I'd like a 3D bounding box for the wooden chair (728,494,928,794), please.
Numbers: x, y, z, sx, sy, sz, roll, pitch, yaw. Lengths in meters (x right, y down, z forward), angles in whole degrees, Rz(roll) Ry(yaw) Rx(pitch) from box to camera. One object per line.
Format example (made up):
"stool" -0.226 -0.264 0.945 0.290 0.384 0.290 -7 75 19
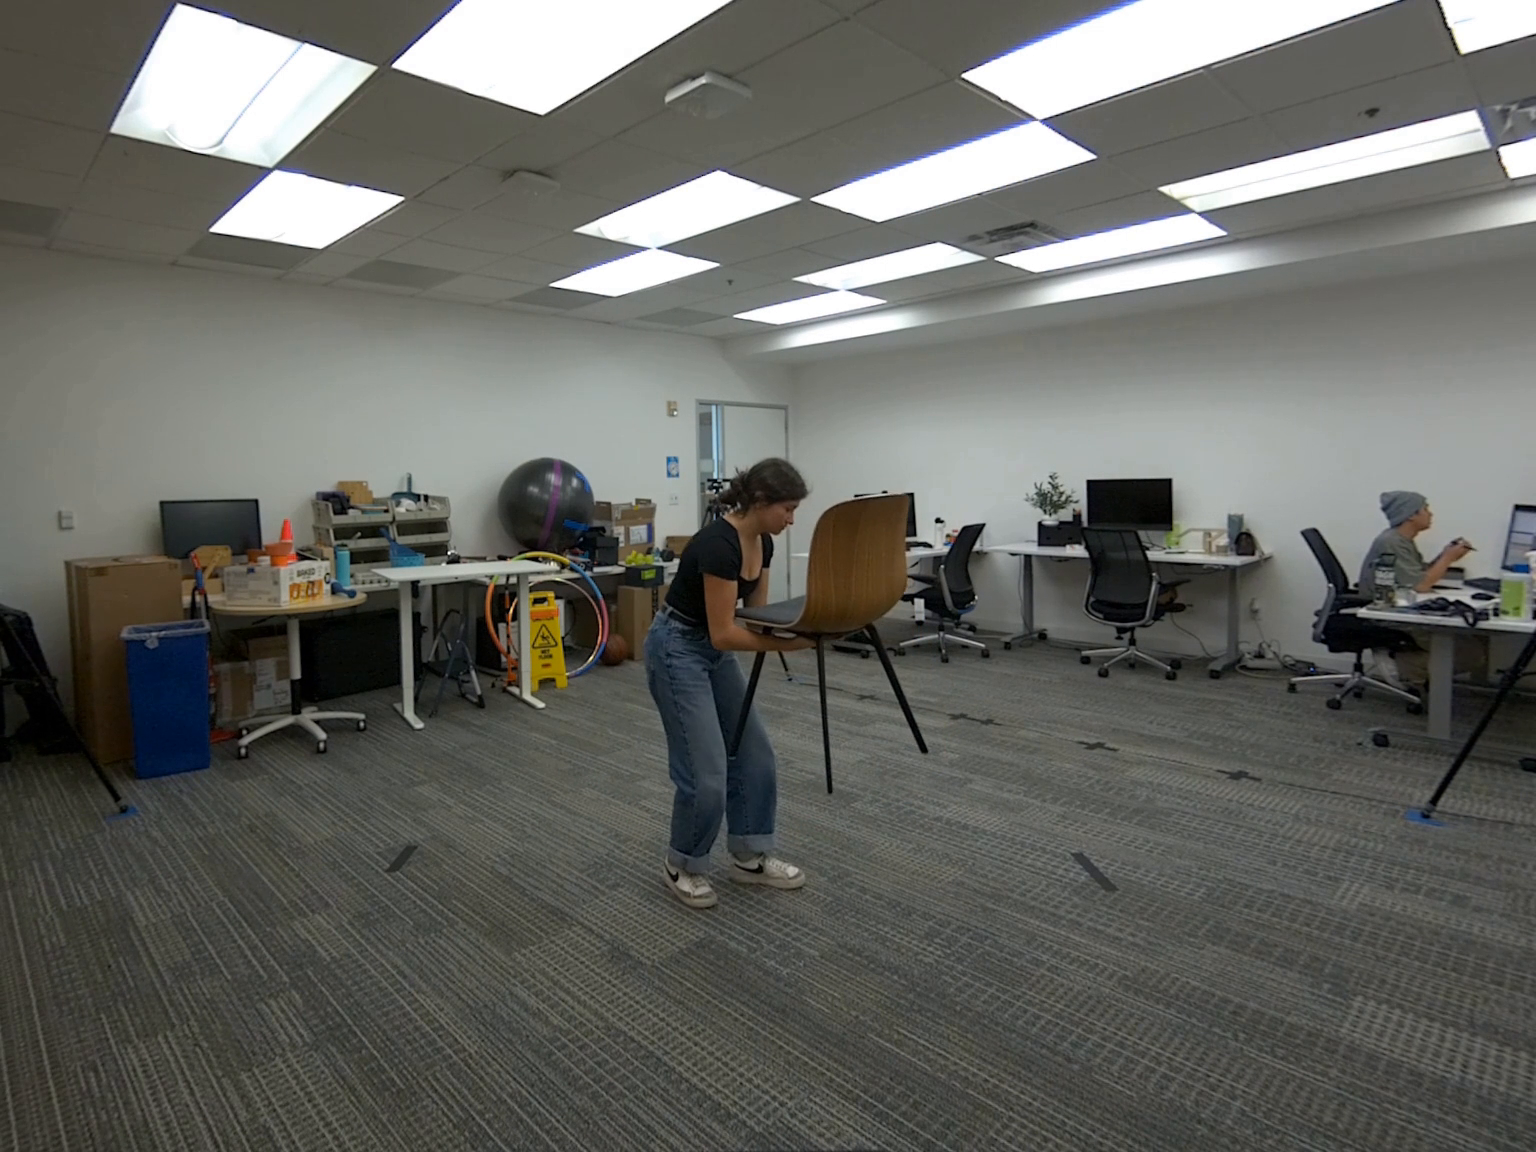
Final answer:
"wooden chair" 0.160 0.171 2.715 0.466 0.871 0.540 -8 11 -39
